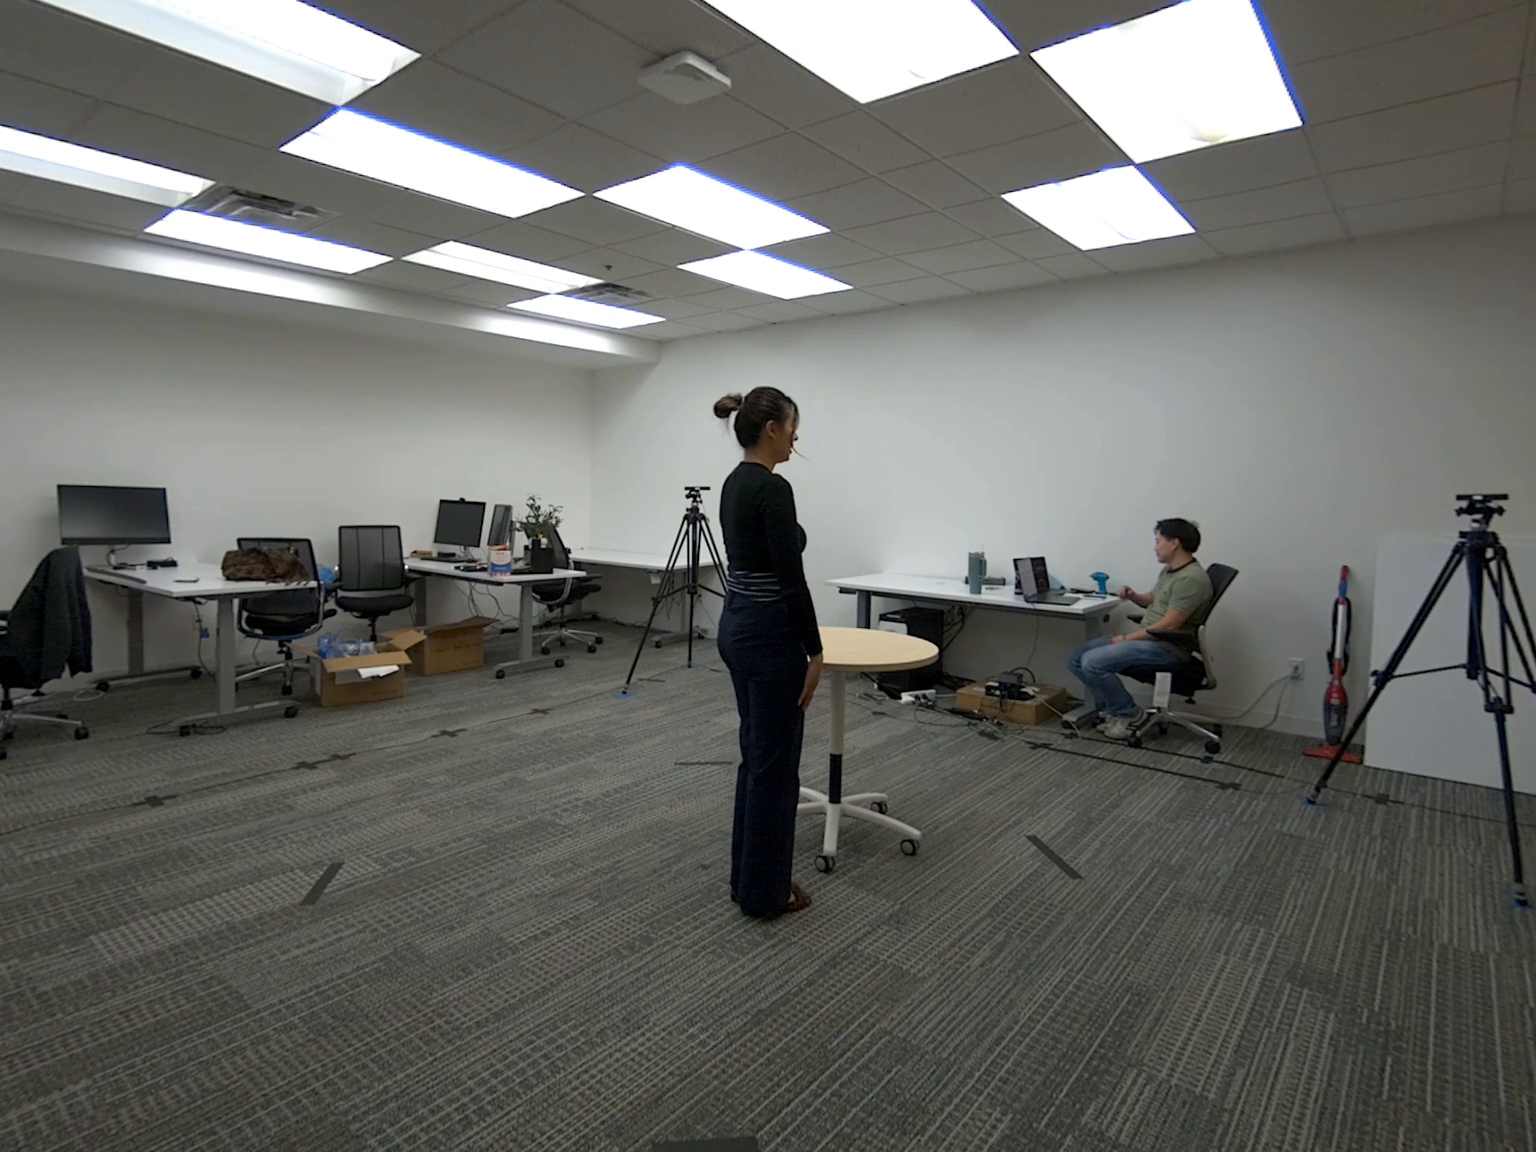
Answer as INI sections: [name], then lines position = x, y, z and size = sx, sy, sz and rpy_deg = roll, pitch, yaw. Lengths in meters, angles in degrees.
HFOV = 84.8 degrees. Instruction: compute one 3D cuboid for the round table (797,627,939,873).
[round table]
position = 0.261, 0.656, 3.401
size = 0.763, 0.791, 0.768
rpy_deg = 1, 5, -2
